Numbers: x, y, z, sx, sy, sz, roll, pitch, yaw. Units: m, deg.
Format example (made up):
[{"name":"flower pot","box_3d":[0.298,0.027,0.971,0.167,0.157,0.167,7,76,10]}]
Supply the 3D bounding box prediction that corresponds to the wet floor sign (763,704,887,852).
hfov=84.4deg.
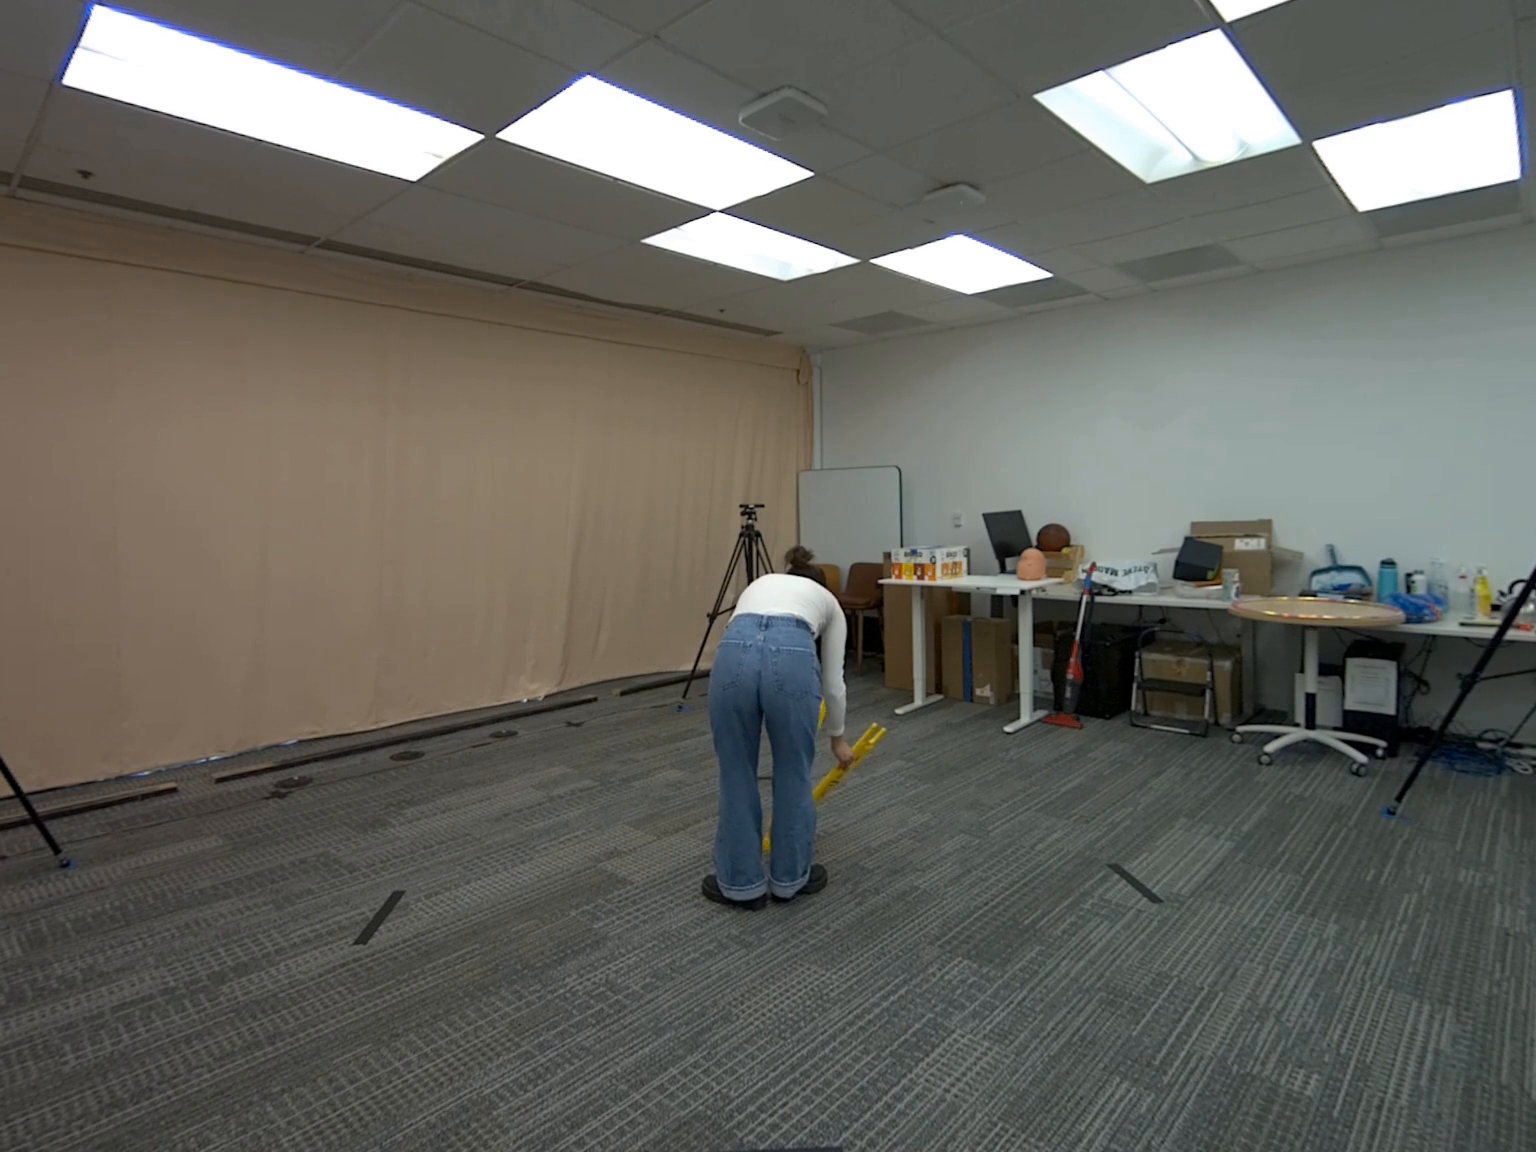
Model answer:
[{"name":"wet floor sign","box_3d":[0.172,0.808,3.361,0.298,0.646,0.275,31,-3,23]}]
